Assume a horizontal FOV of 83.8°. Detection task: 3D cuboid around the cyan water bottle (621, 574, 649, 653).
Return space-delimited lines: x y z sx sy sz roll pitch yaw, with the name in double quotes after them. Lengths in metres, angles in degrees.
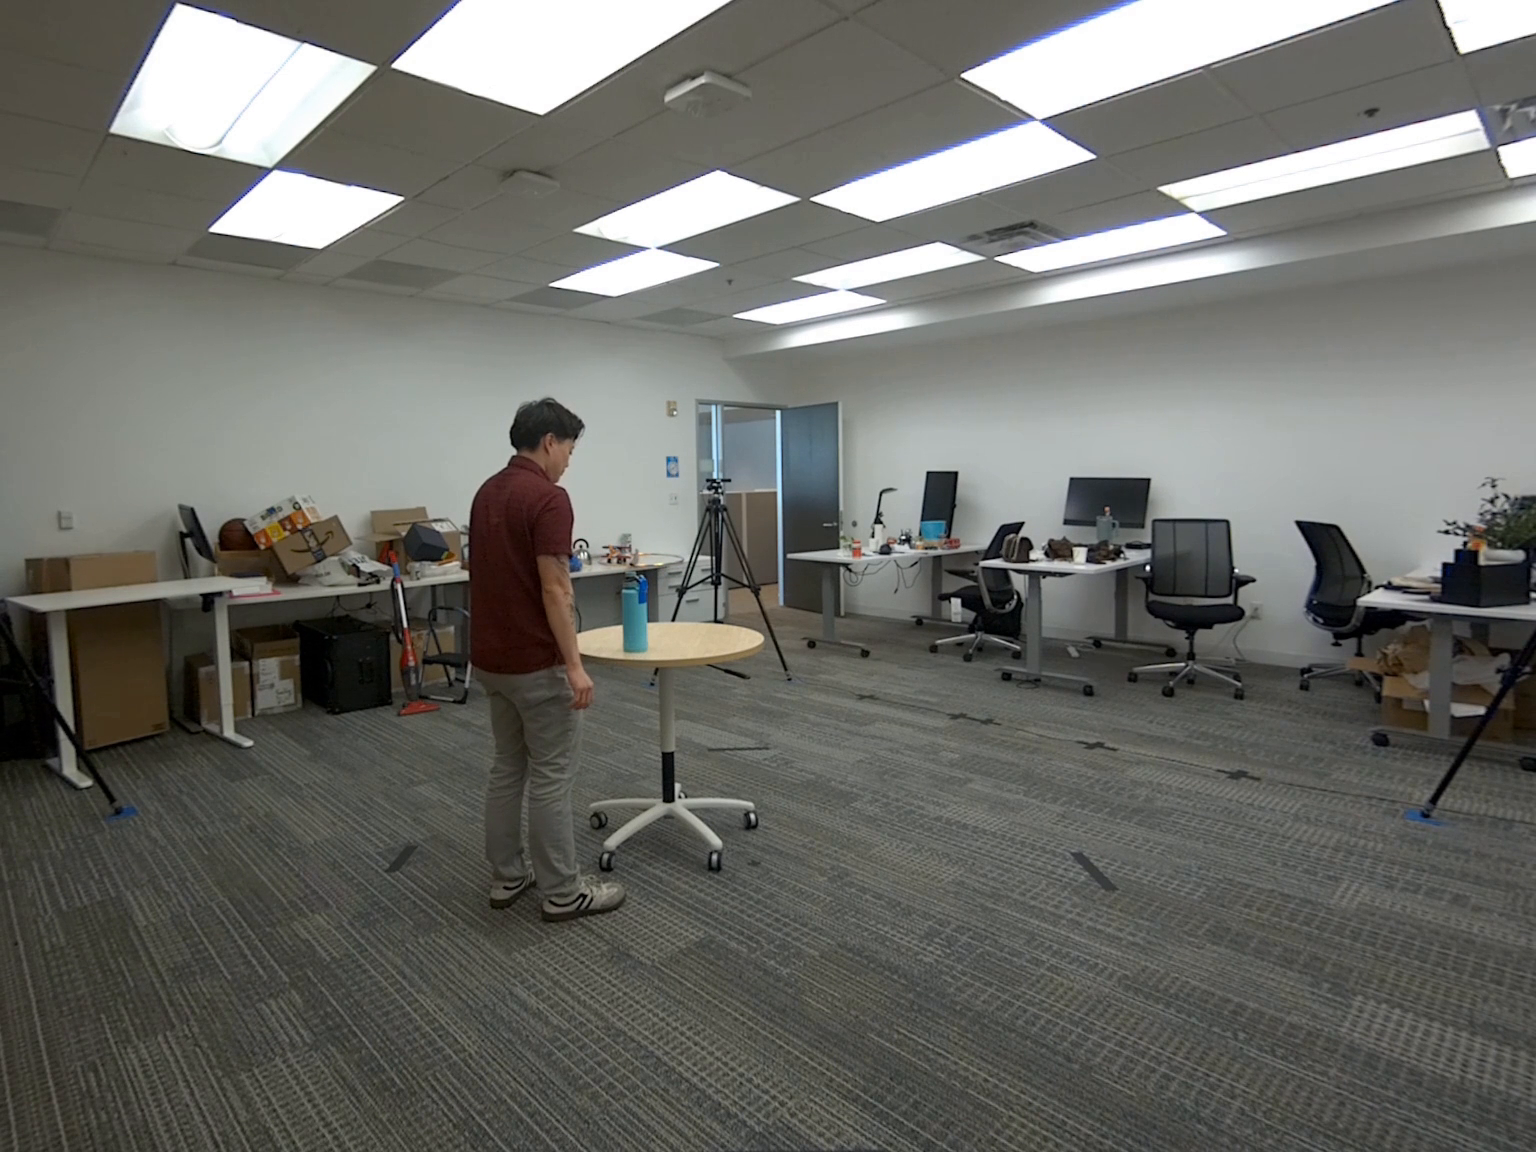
-0.484 0.131 3.093 0.092 0.282 0.093 0 3 -2 "cyan water bottle"
